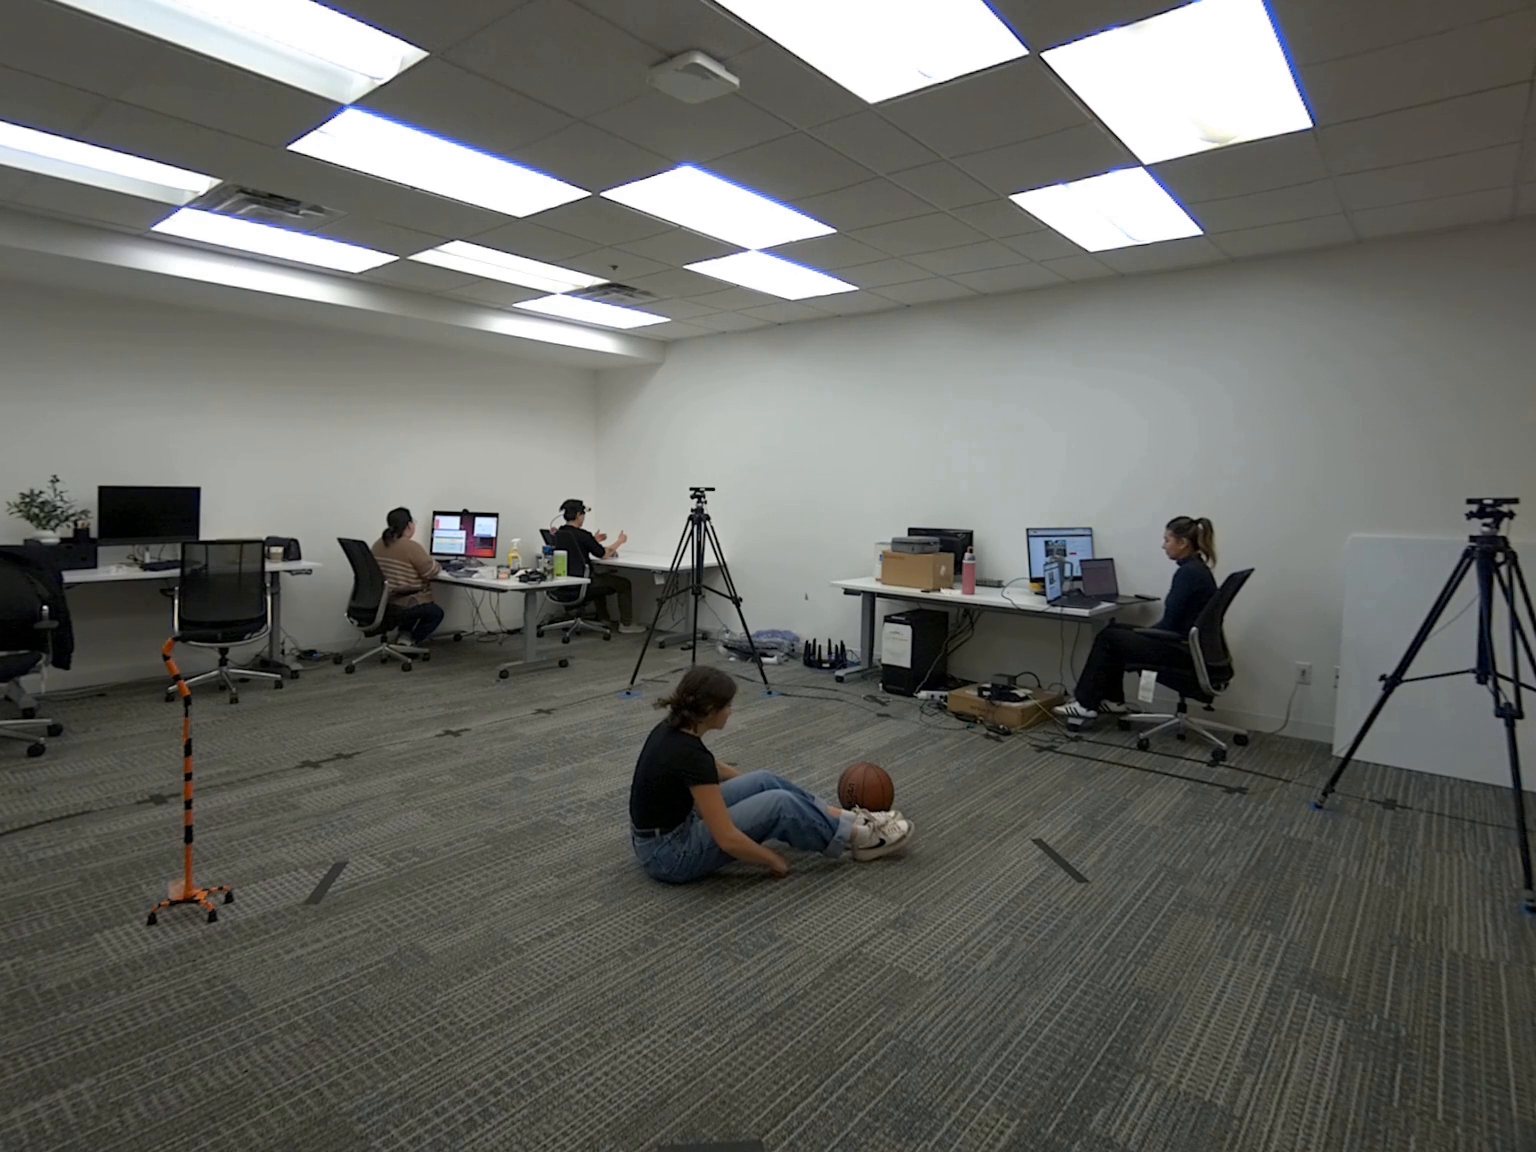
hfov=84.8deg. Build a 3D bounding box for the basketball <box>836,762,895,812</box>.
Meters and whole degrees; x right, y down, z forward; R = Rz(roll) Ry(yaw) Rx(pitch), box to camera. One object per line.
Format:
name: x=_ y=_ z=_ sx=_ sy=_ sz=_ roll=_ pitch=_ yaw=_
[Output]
basketball: x=0.409 y=0.907 z=3.612 sx=0.235 sy=0.235 sz=0.237 roll=1 pitch=4 yaw=-2
